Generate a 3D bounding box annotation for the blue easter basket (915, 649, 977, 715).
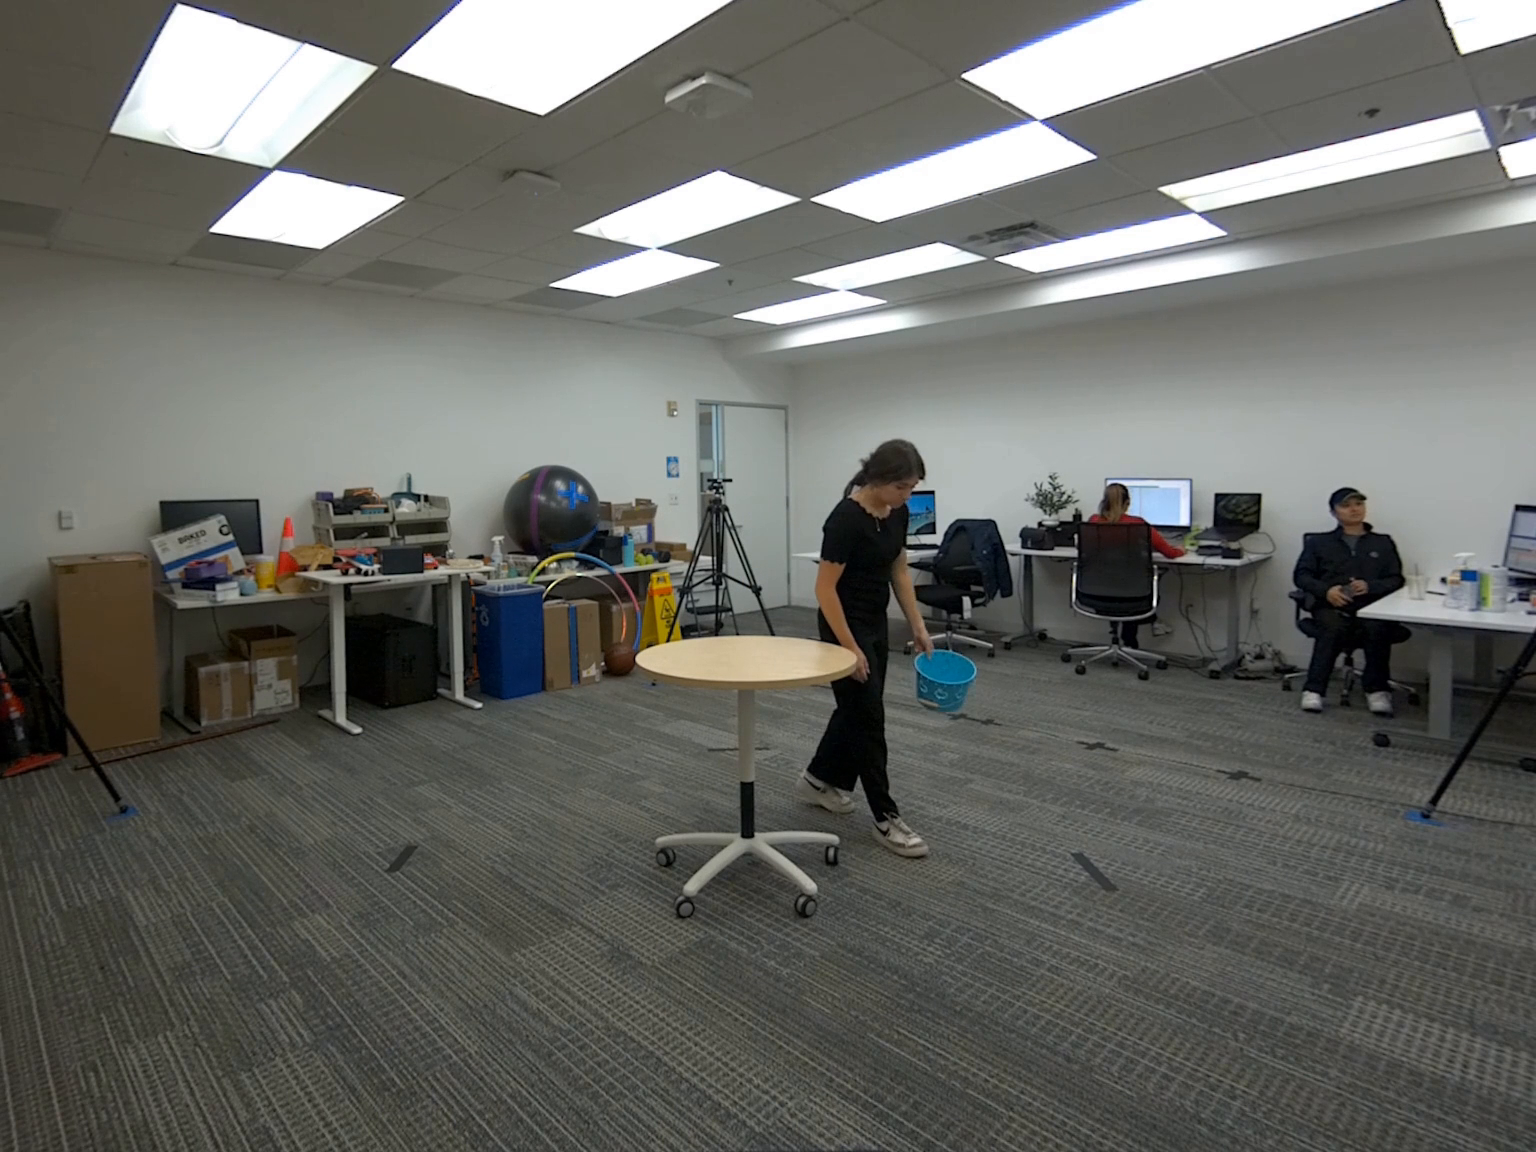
[{"bbox_3d":[0.670,0.413,3.297,0.243,0.153,0.249,1,24,-2],"label":"blue easter basket"}]
